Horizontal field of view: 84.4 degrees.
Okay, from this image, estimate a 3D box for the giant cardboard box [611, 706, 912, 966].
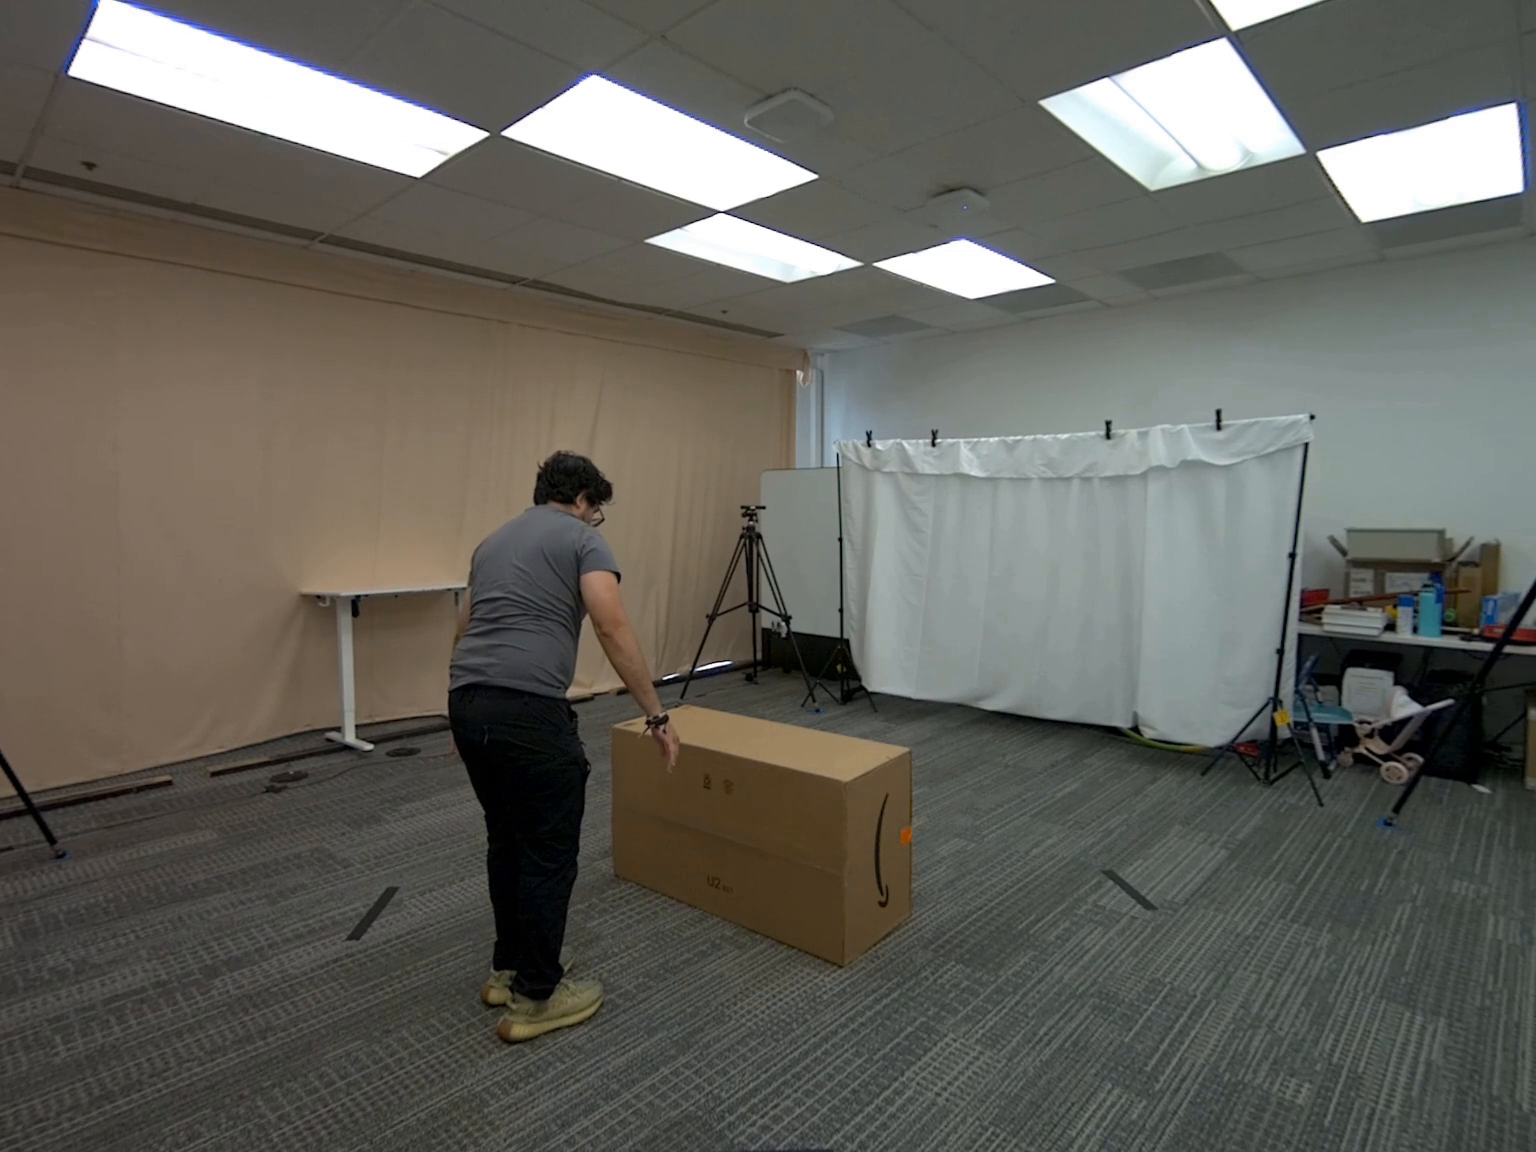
[{"bbox_3d":[-0.046,0.852,3.003,1.059,0.576,0.413,3,5,39],"label":"giant cardboard box"}]
